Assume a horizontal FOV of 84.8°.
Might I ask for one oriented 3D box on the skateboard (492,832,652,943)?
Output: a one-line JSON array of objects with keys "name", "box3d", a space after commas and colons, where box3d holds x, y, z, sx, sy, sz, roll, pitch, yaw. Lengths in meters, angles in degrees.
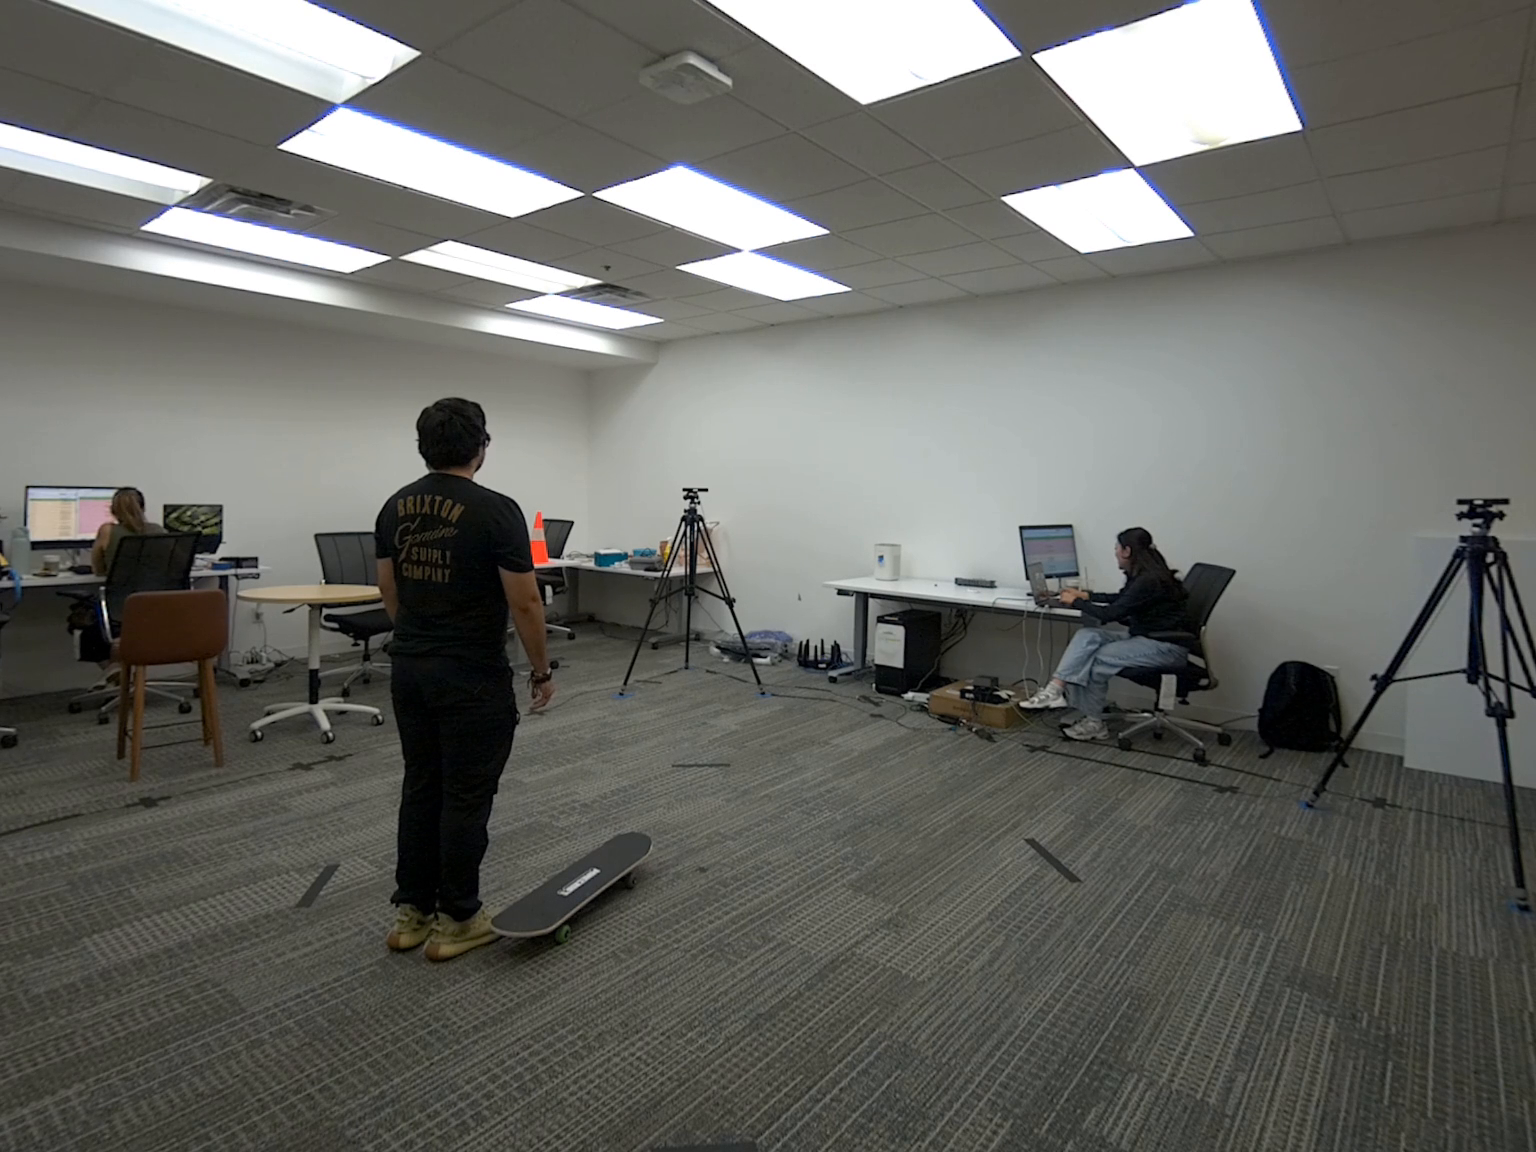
[{"name": "skateboard", "box3d": [-0.628, 1.033, 2.811, 0.198, 0.110, 0.770, 2, 6, 22]}]
